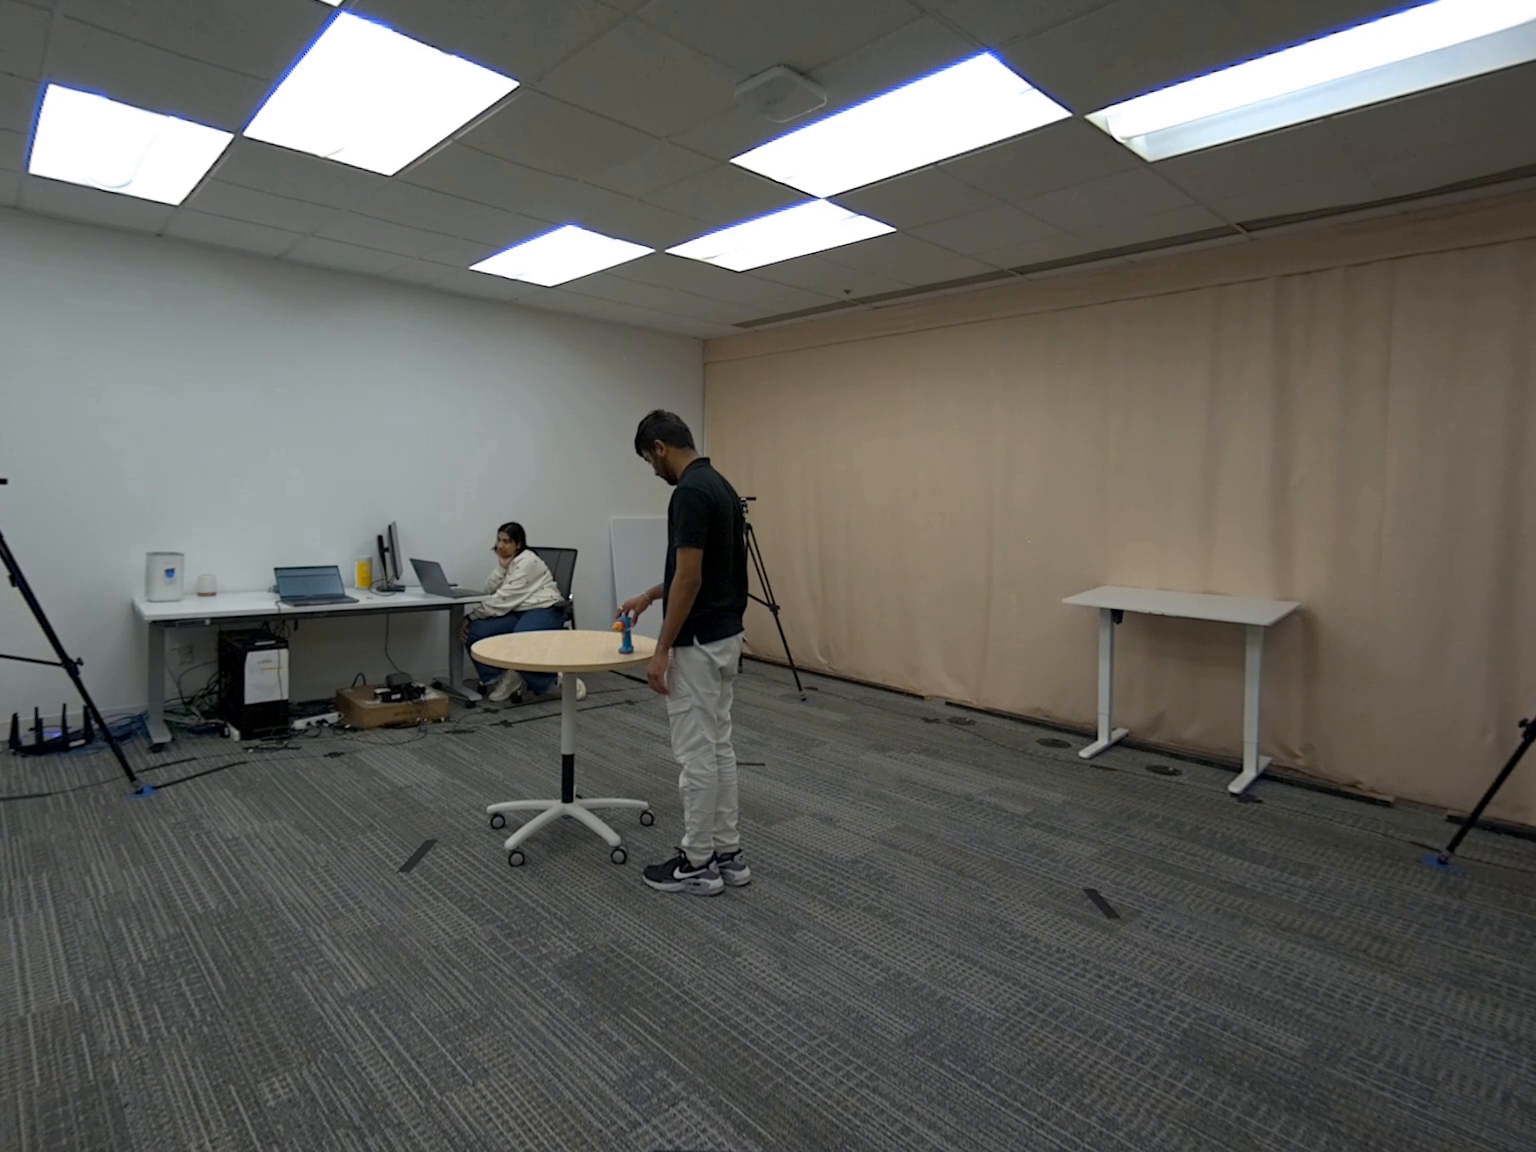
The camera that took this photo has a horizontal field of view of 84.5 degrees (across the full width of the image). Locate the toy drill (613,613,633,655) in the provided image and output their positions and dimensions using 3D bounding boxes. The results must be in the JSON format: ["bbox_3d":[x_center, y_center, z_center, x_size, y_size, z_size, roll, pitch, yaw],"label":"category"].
[{"bbox_3d":[-0.571,0.232,3.255,0.062,0.146,0.168,-1,2,12],"label":"toy drill"}]
